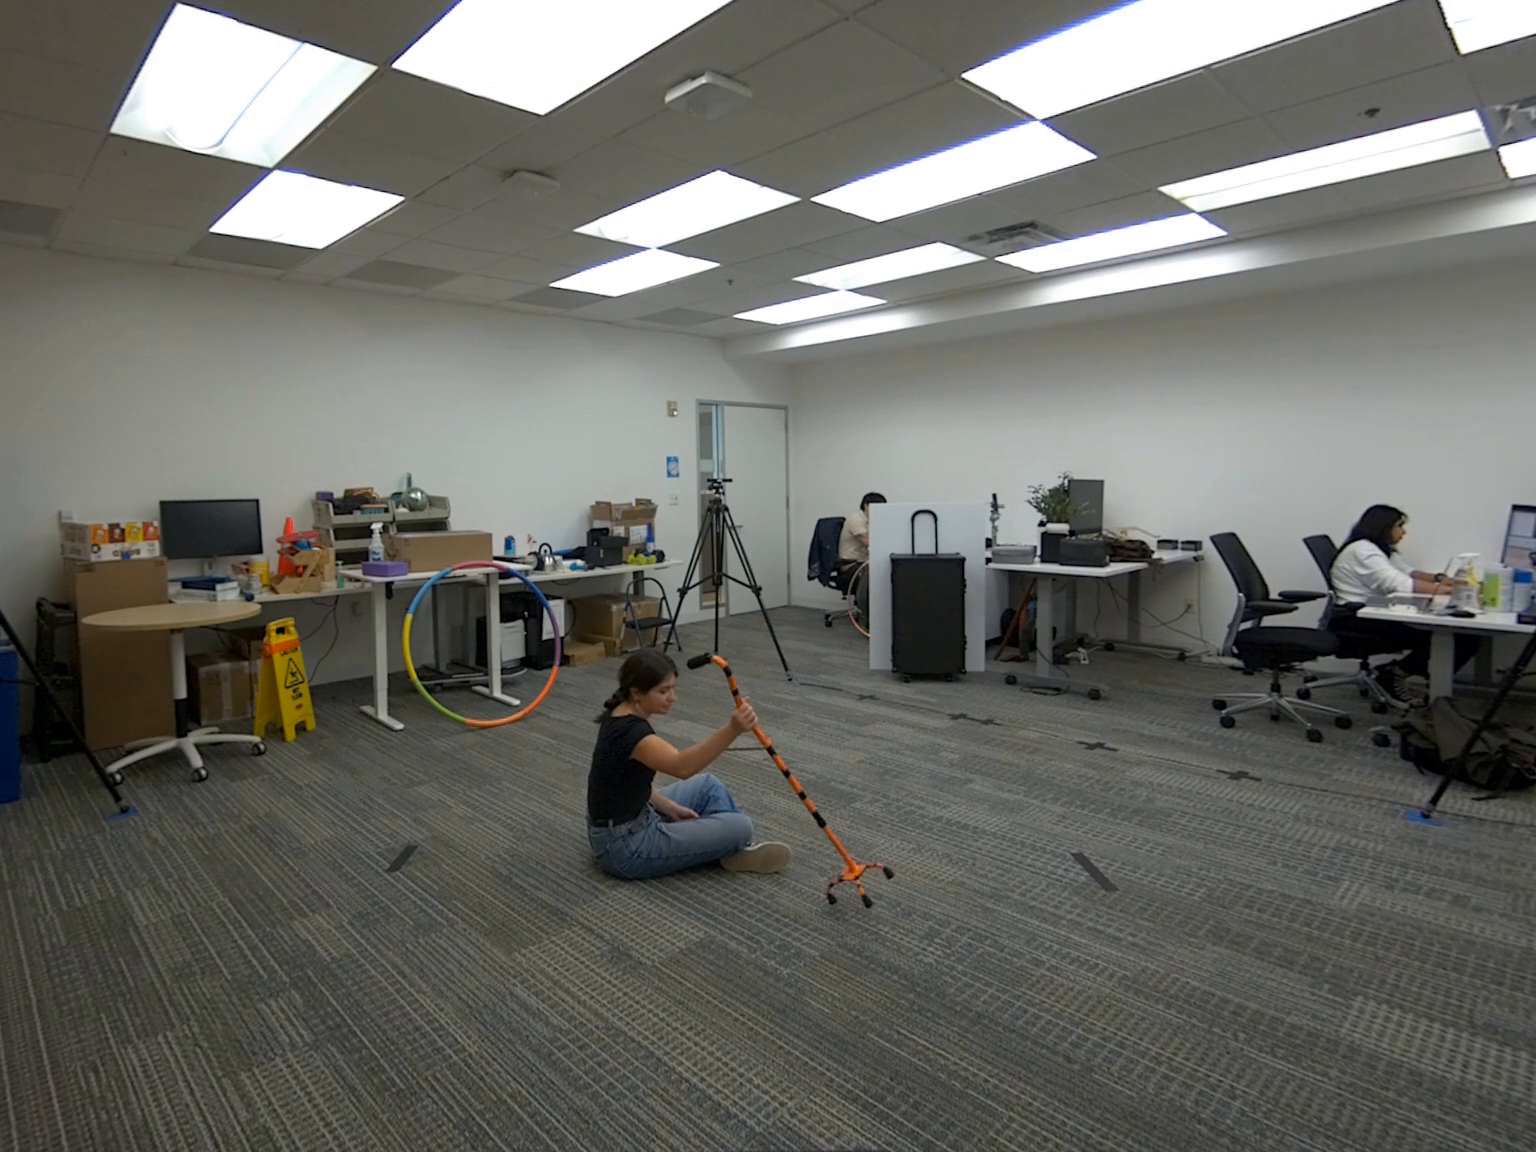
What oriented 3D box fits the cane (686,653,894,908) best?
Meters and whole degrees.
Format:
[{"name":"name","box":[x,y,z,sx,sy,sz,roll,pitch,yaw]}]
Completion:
[{"name":"cane","box":[0.053,0.631,2.708,0.150,0.903,0.209,-36,5,-36]}]
